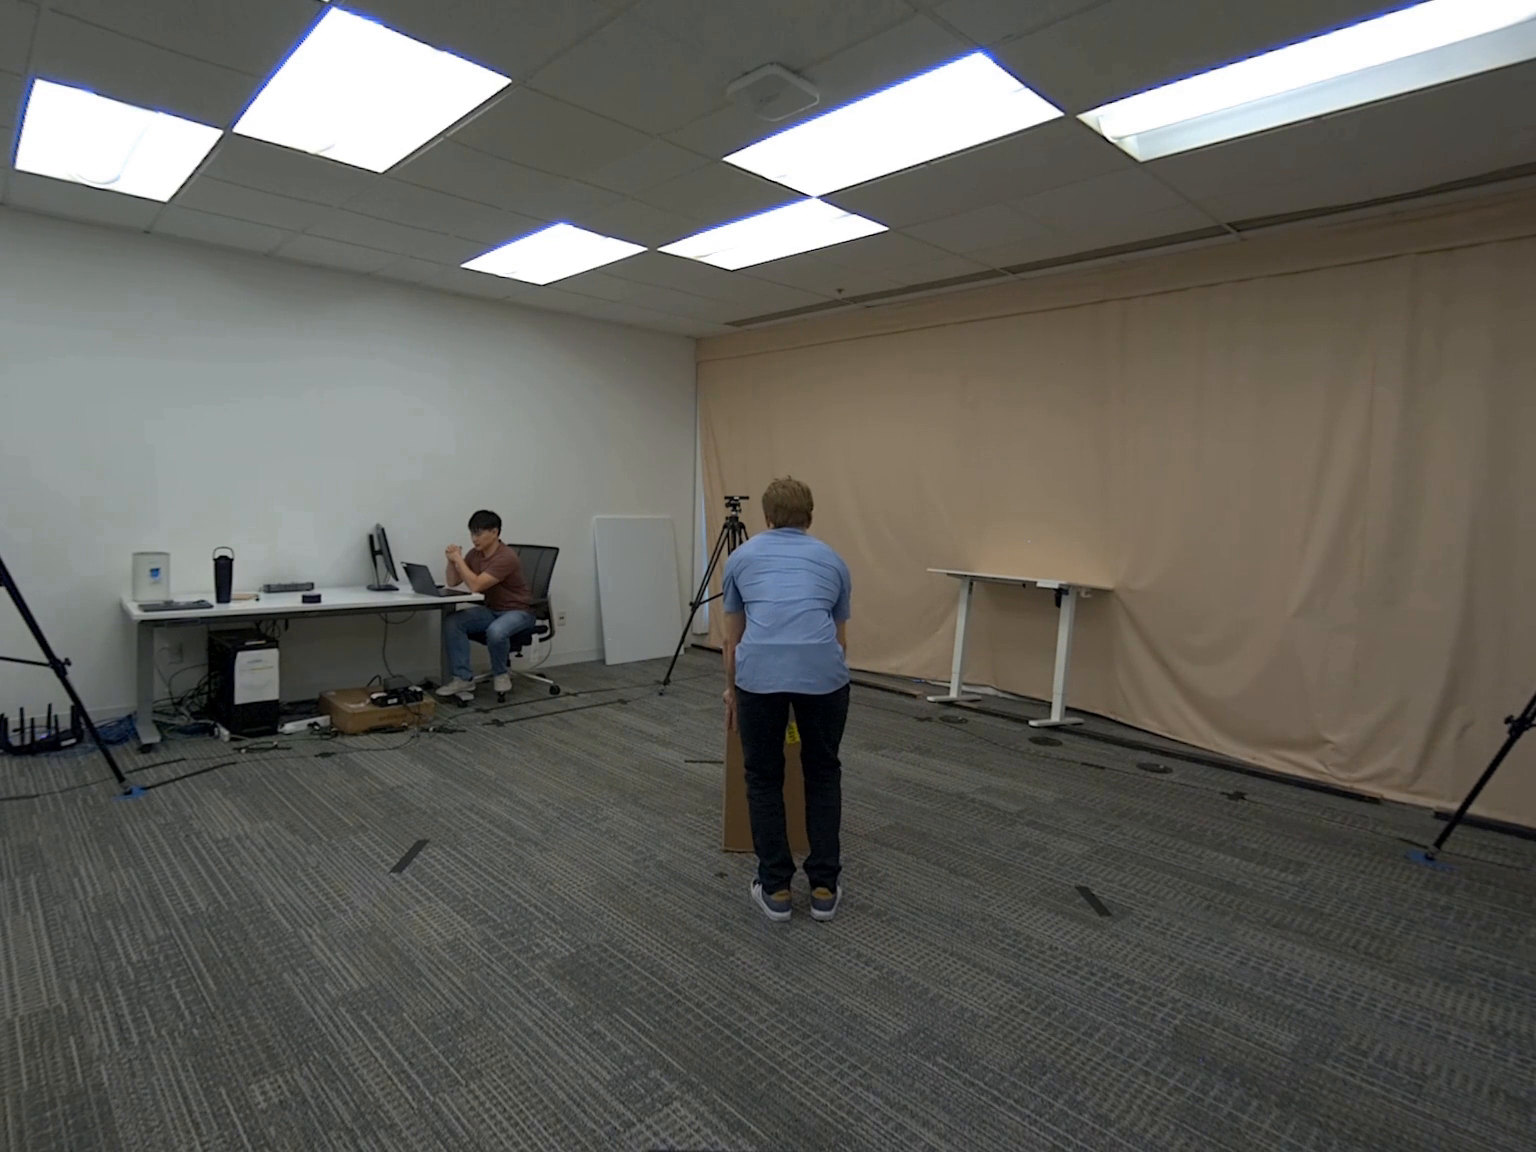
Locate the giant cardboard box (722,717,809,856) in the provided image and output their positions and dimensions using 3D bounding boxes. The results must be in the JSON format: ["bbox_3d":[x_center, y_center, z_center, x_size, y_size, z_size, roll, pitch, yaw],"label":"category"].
[{"bbox_3d":[0.036,0.559,3.571,0.426,1.024,0.579,2,3,-2],"label":"giant cardboard box"}]
